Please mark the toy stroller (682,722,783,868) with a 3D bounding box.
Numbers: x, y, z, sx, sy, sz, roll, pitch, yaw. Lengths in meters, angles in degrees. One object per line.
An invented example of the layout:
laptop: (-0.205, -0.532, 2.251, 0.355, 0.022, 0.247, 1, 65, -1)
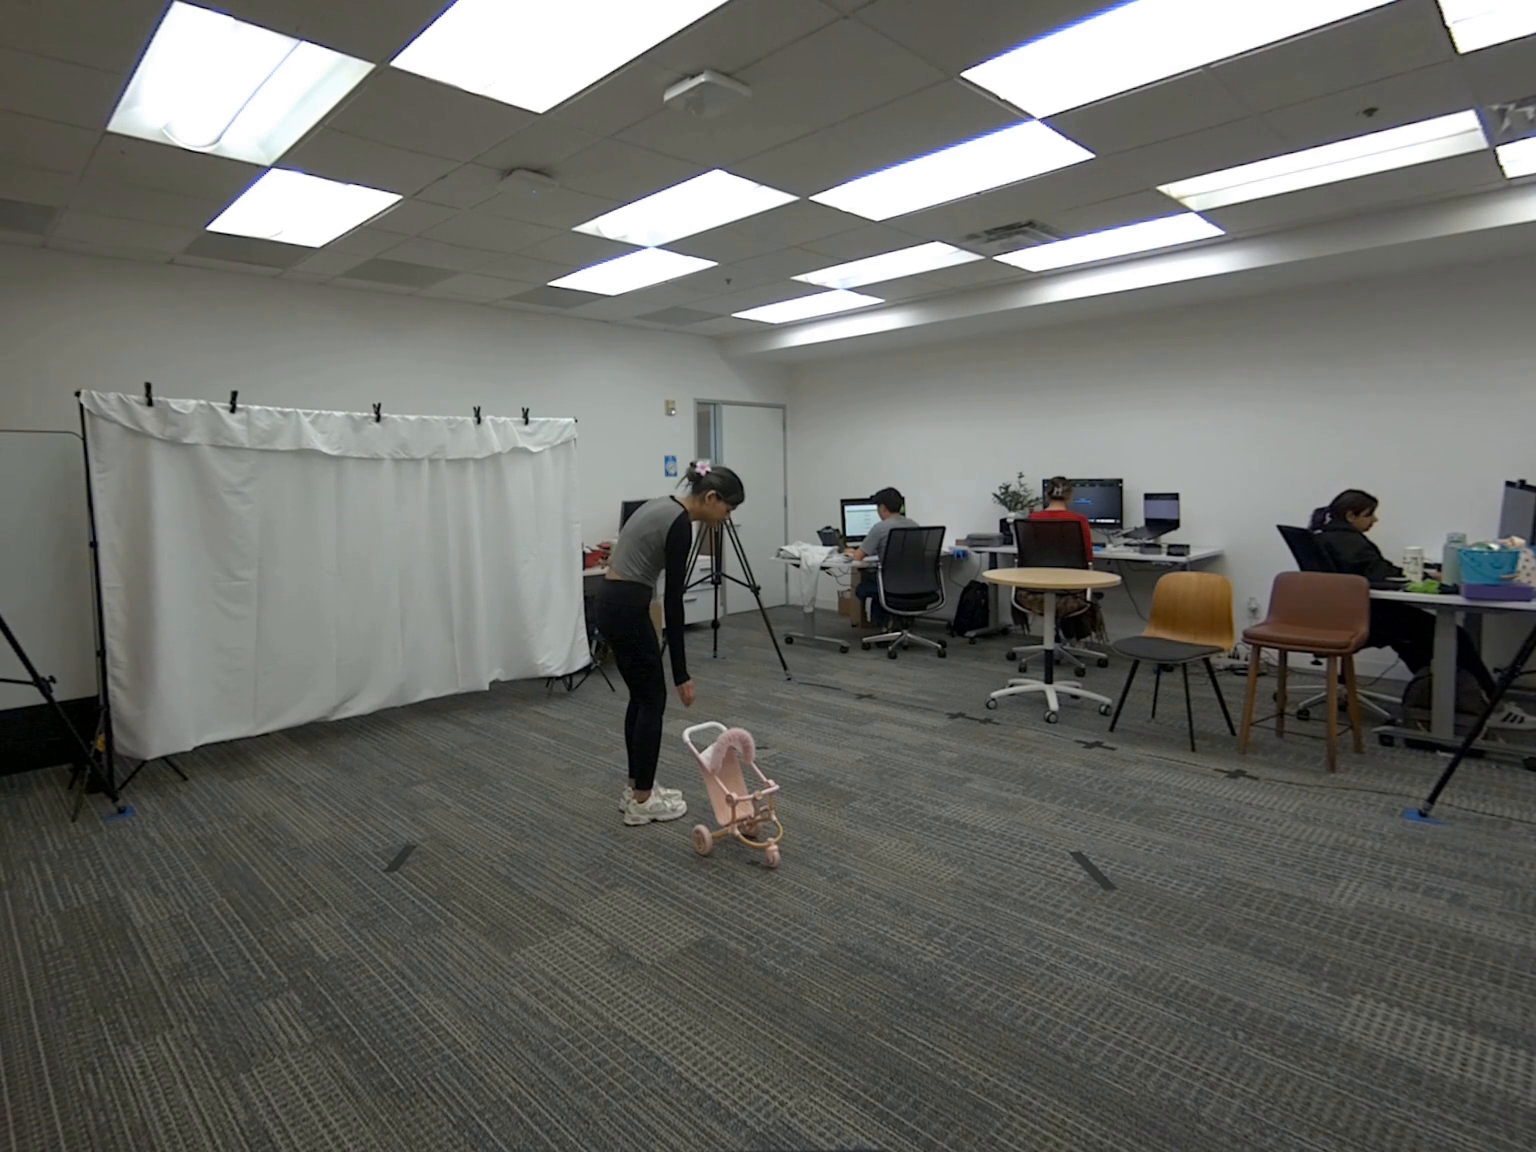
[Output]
toy stroller: (-0.114, 0.808, 3.200, 0.274, 0.540, 0.347, -4, -11, -37)
